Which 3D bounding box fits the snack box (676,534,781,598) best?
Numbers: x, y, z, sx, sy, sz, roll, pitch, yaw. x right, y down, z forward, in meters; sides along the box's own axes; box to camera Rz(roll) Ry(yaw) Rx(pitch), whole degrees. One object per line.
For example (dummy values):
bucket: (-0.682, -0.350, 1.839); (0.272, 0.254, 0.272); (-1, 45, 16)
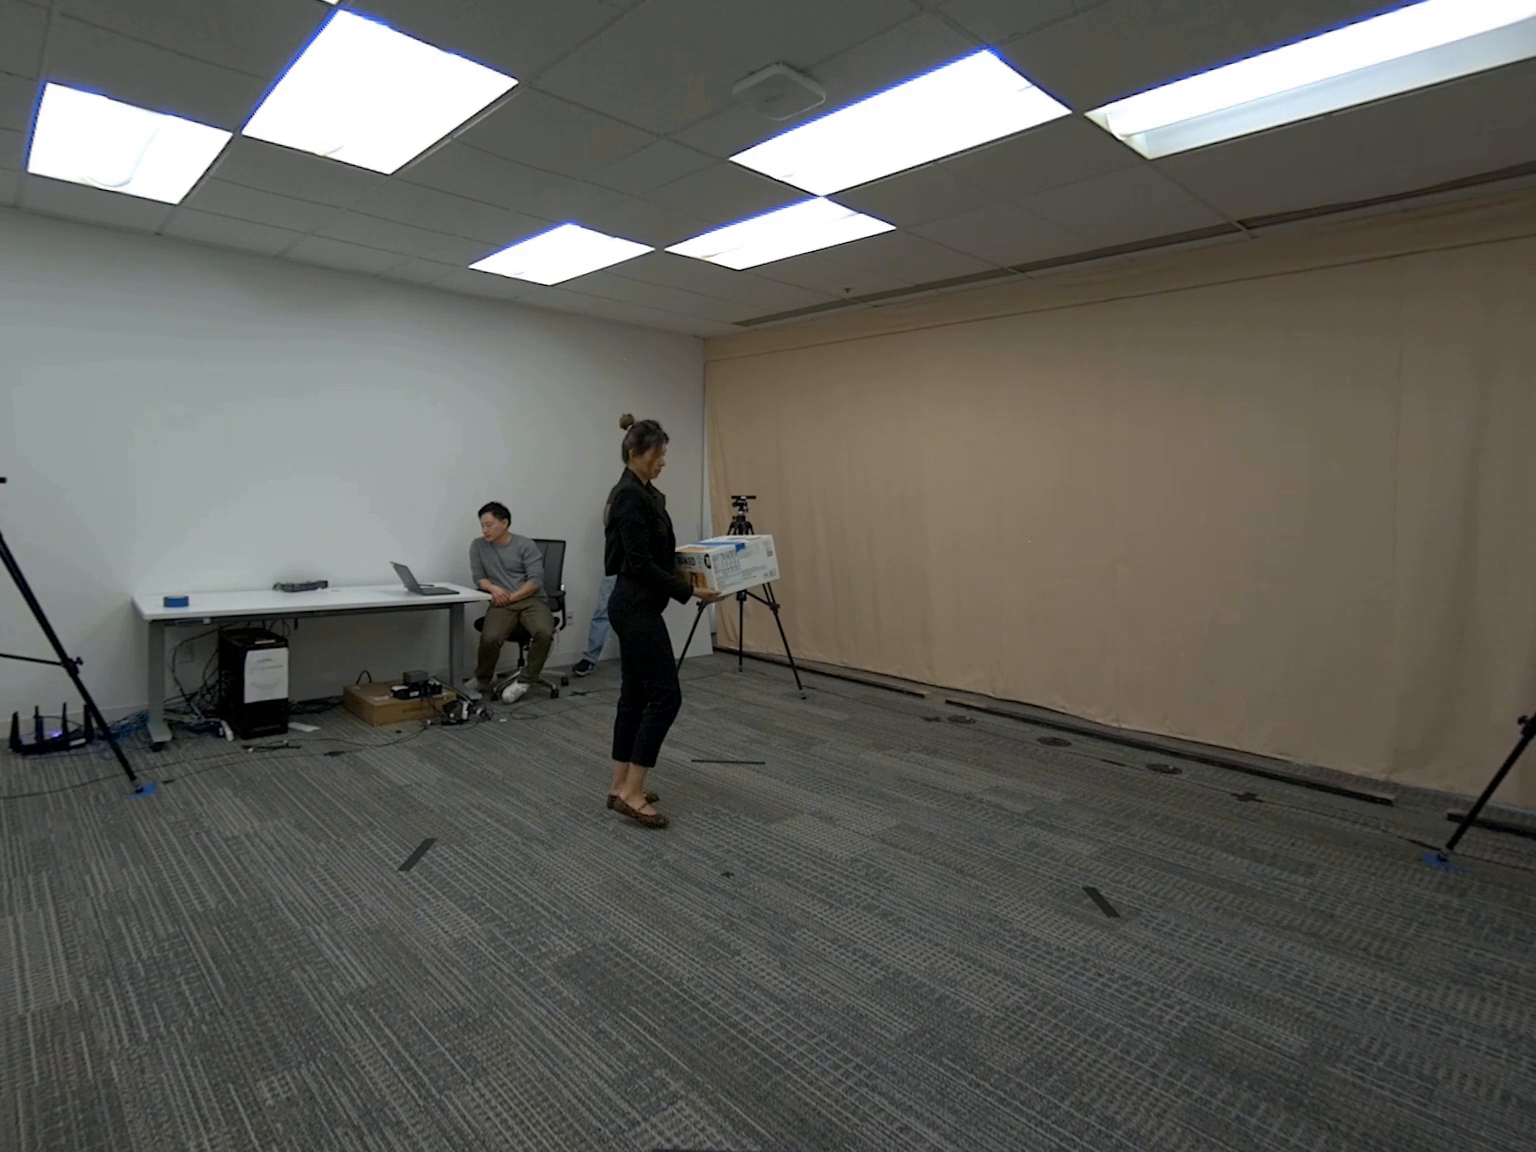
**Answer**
snack box: (-0.218, -0.050, 3.817); (0.335, 0.204, 0.414); (-17, 11, -33)
